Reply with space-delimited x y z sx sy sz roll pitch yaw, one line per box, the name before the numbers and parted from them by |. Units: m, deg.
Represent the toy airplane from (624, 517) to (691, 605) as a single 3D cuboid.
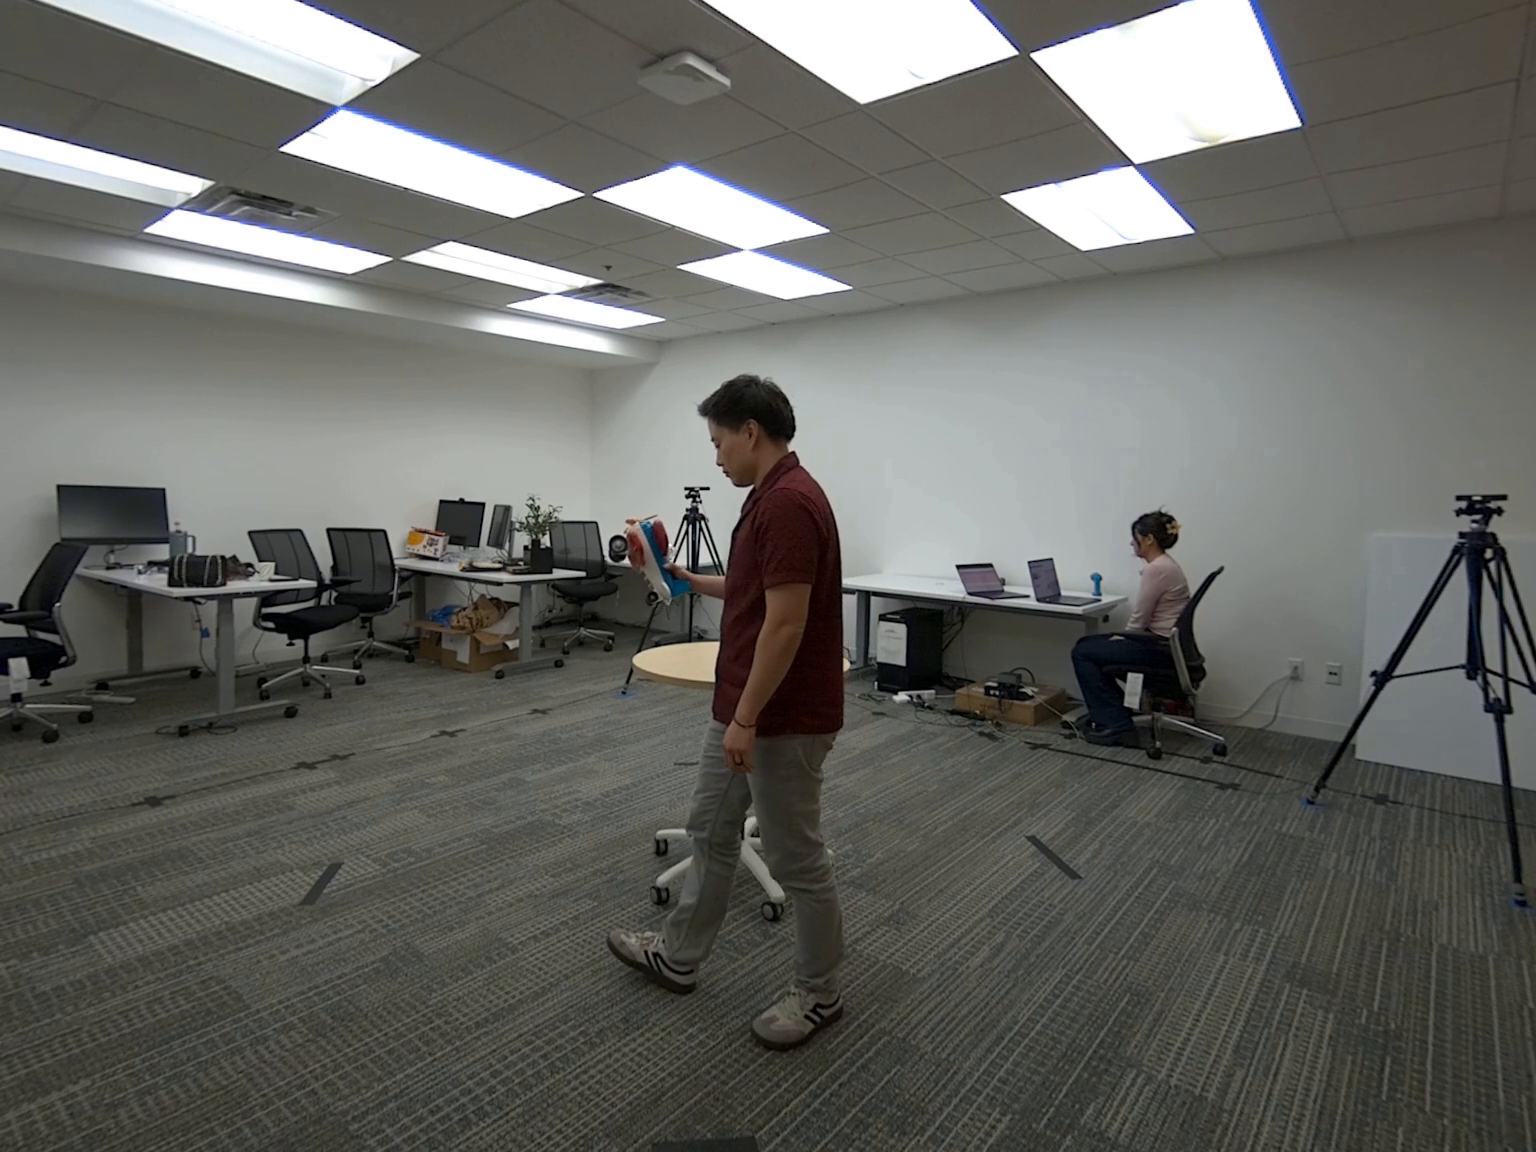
toy airplane | -0.362 -0.040 2.460 0.156 0.253 0.258 -38 20 -16
